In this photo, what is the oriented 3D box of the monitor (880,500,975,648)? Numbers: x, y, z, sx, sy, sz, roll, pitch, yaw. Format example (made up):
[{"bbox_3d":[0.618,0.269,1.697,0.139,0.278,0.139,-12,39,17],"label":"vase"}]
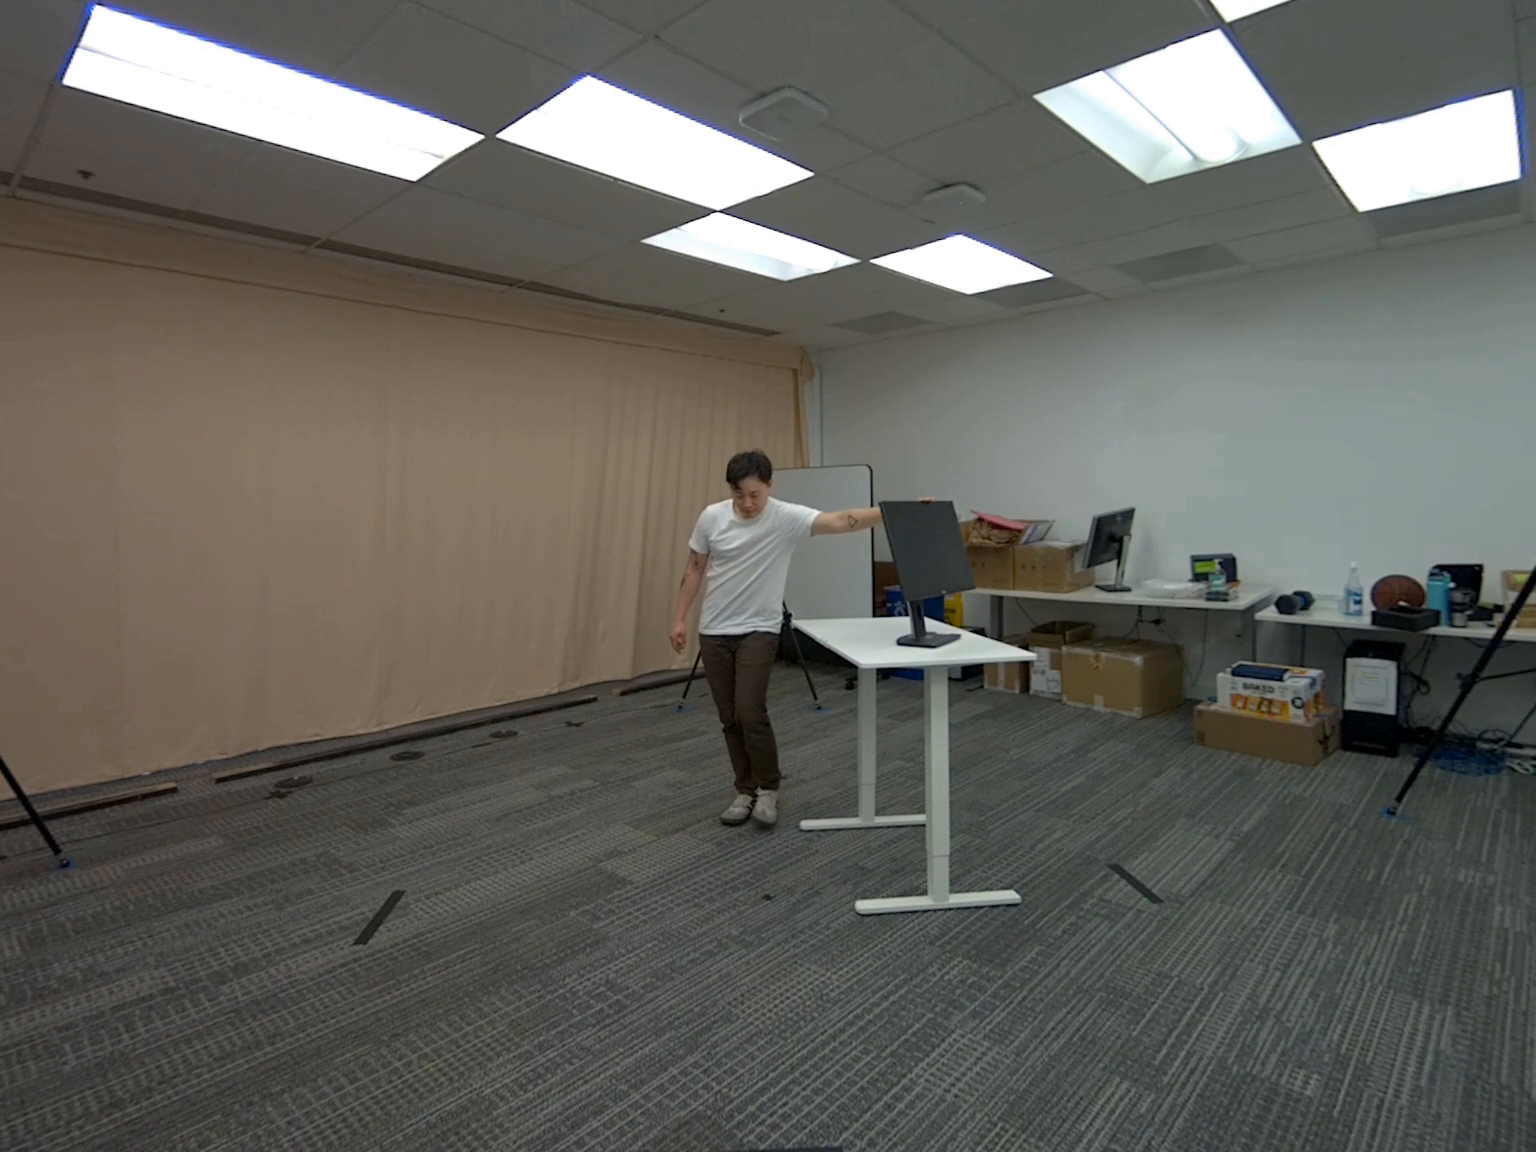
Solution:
[{"bbox_3d":[0.580,-0.011,3.075,0.193,0.522,0.523,-1,2,38],"label":"monitor"}]
